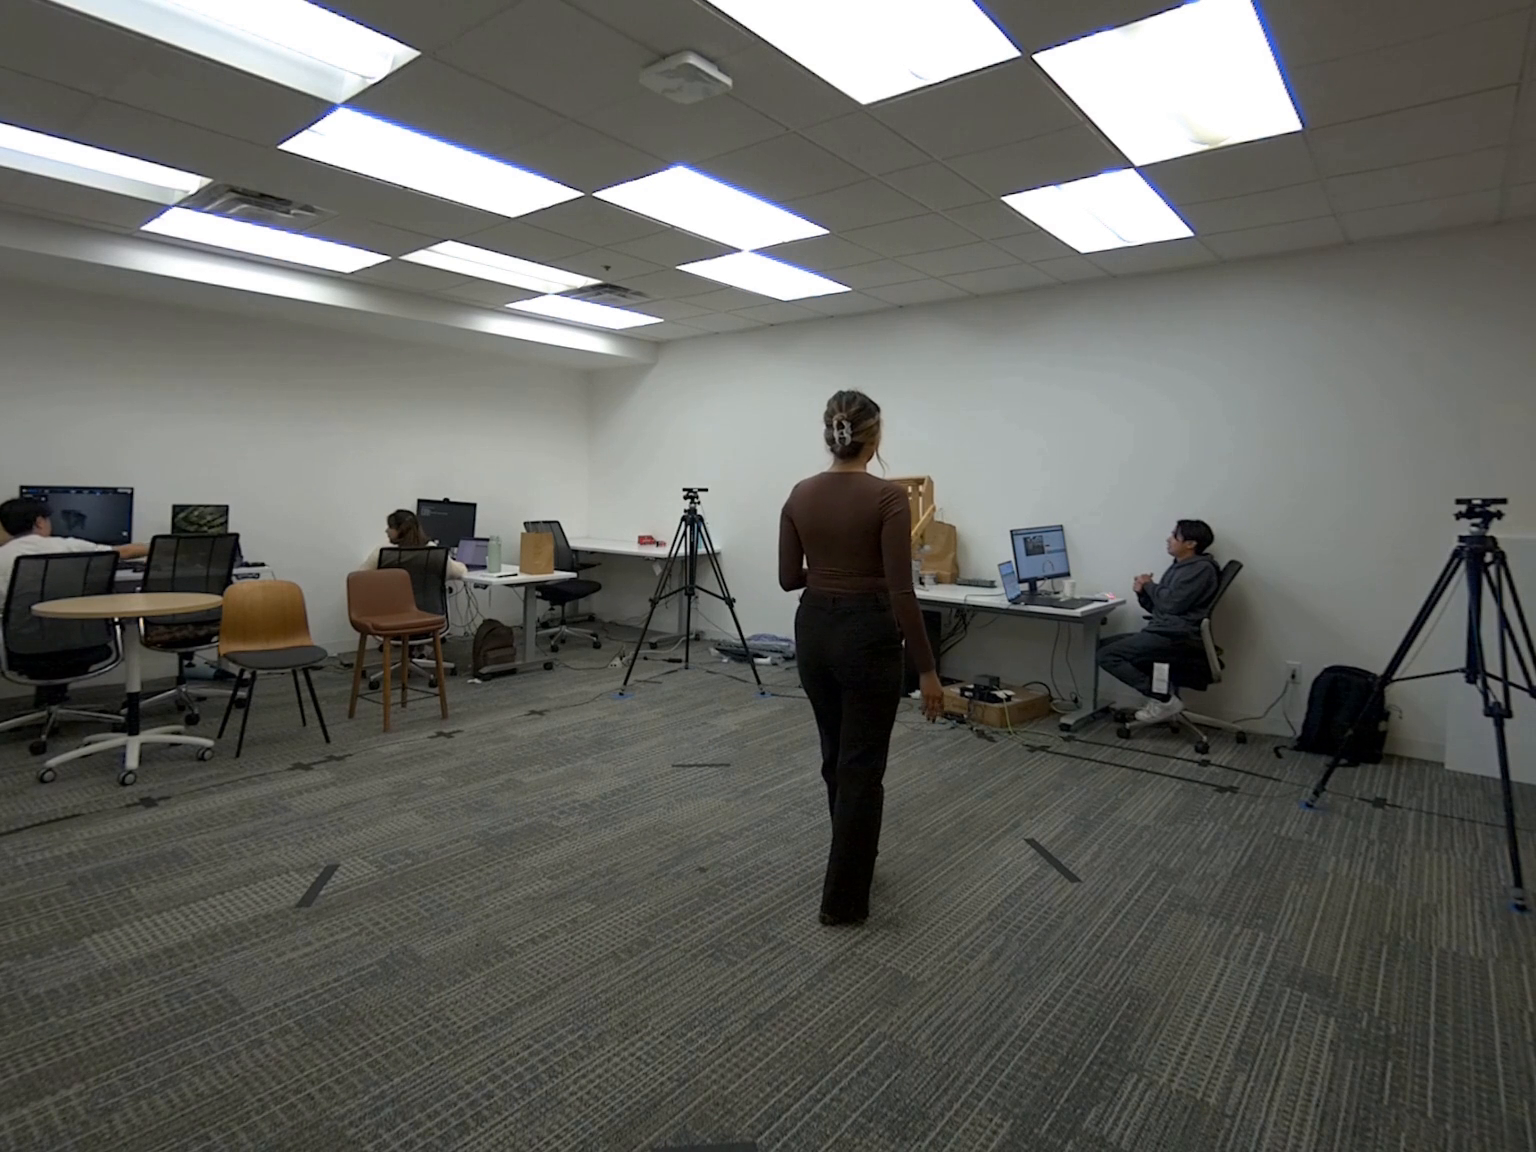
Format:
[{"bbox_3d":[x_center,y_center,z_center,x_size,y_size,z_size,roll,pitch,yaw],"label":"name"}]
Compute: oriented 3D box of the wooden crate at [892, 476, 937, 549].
[{"bbox_3d":[0.400,-0.217,3.101,0.334,0.302,0.265,-1,0,35],"label":"wooden crate"}]
